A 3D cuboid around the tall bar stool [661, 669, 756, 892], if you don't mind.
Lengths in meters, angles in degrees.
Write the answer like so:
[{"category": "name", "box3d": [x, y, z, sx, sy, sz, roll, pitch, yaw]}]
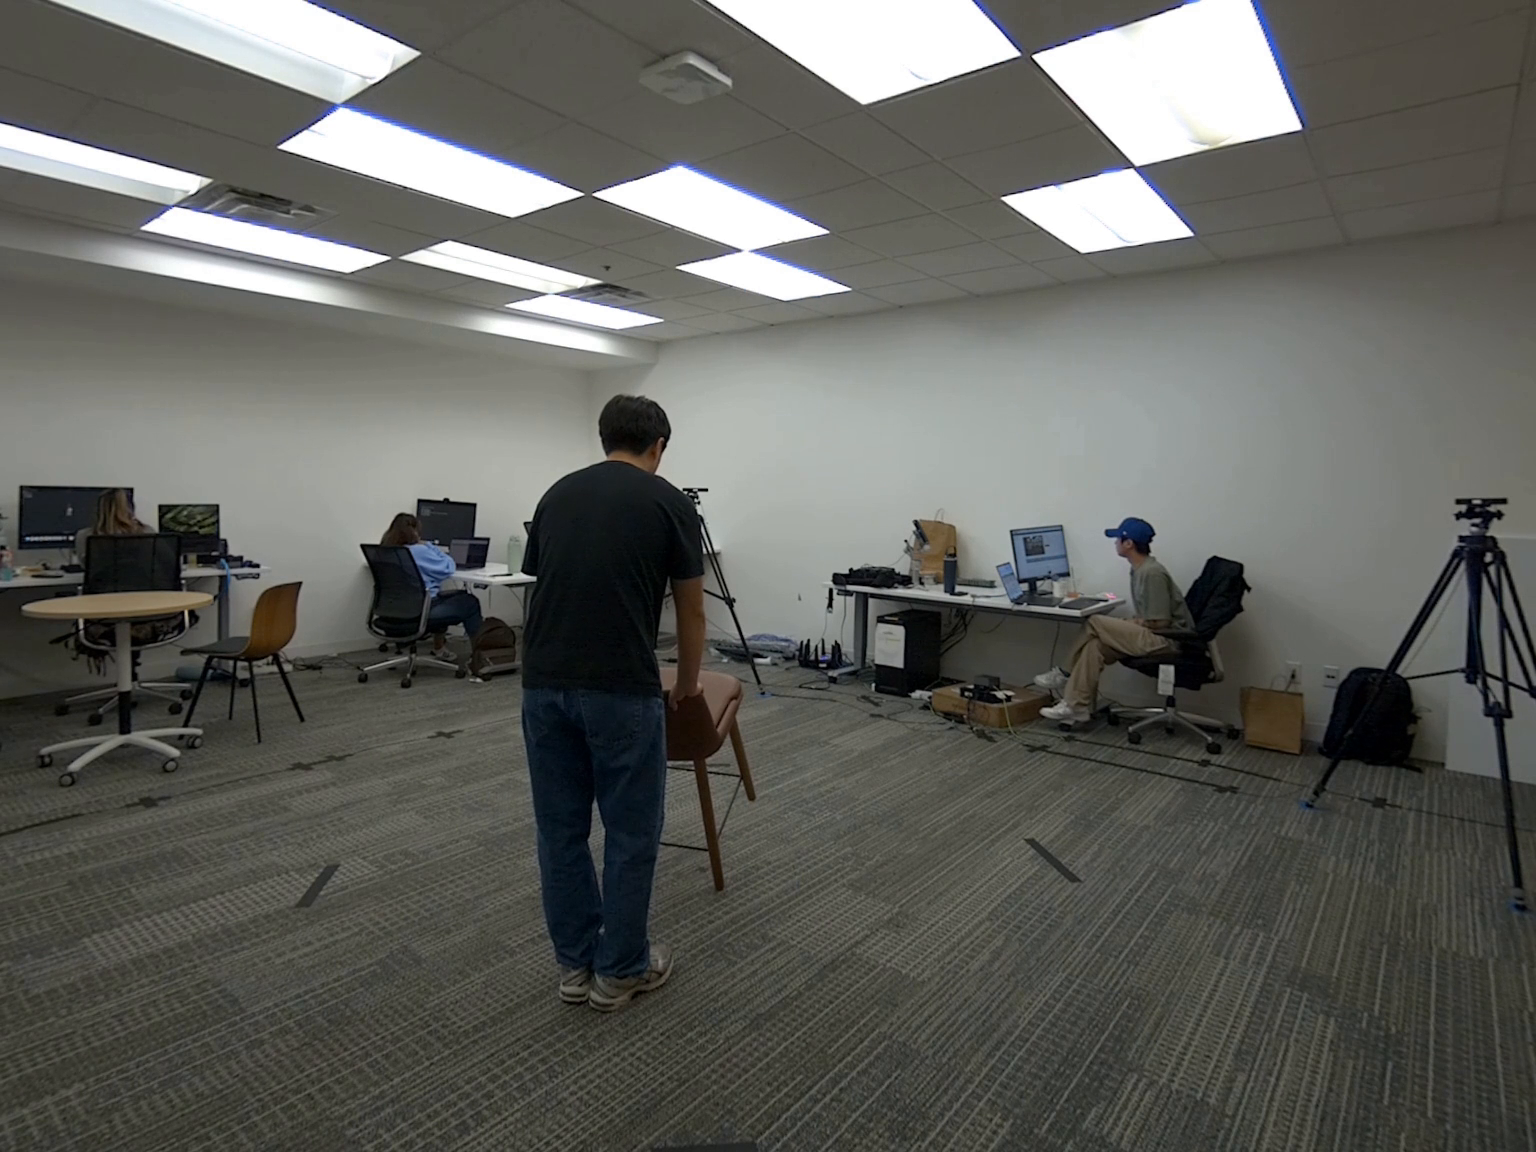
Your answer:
[{"category": "tall bar stool", "box3d": [-0.338, 0.597, 2.980, 0.465, 0.865, 0.472, 3, 31, 16]}]
